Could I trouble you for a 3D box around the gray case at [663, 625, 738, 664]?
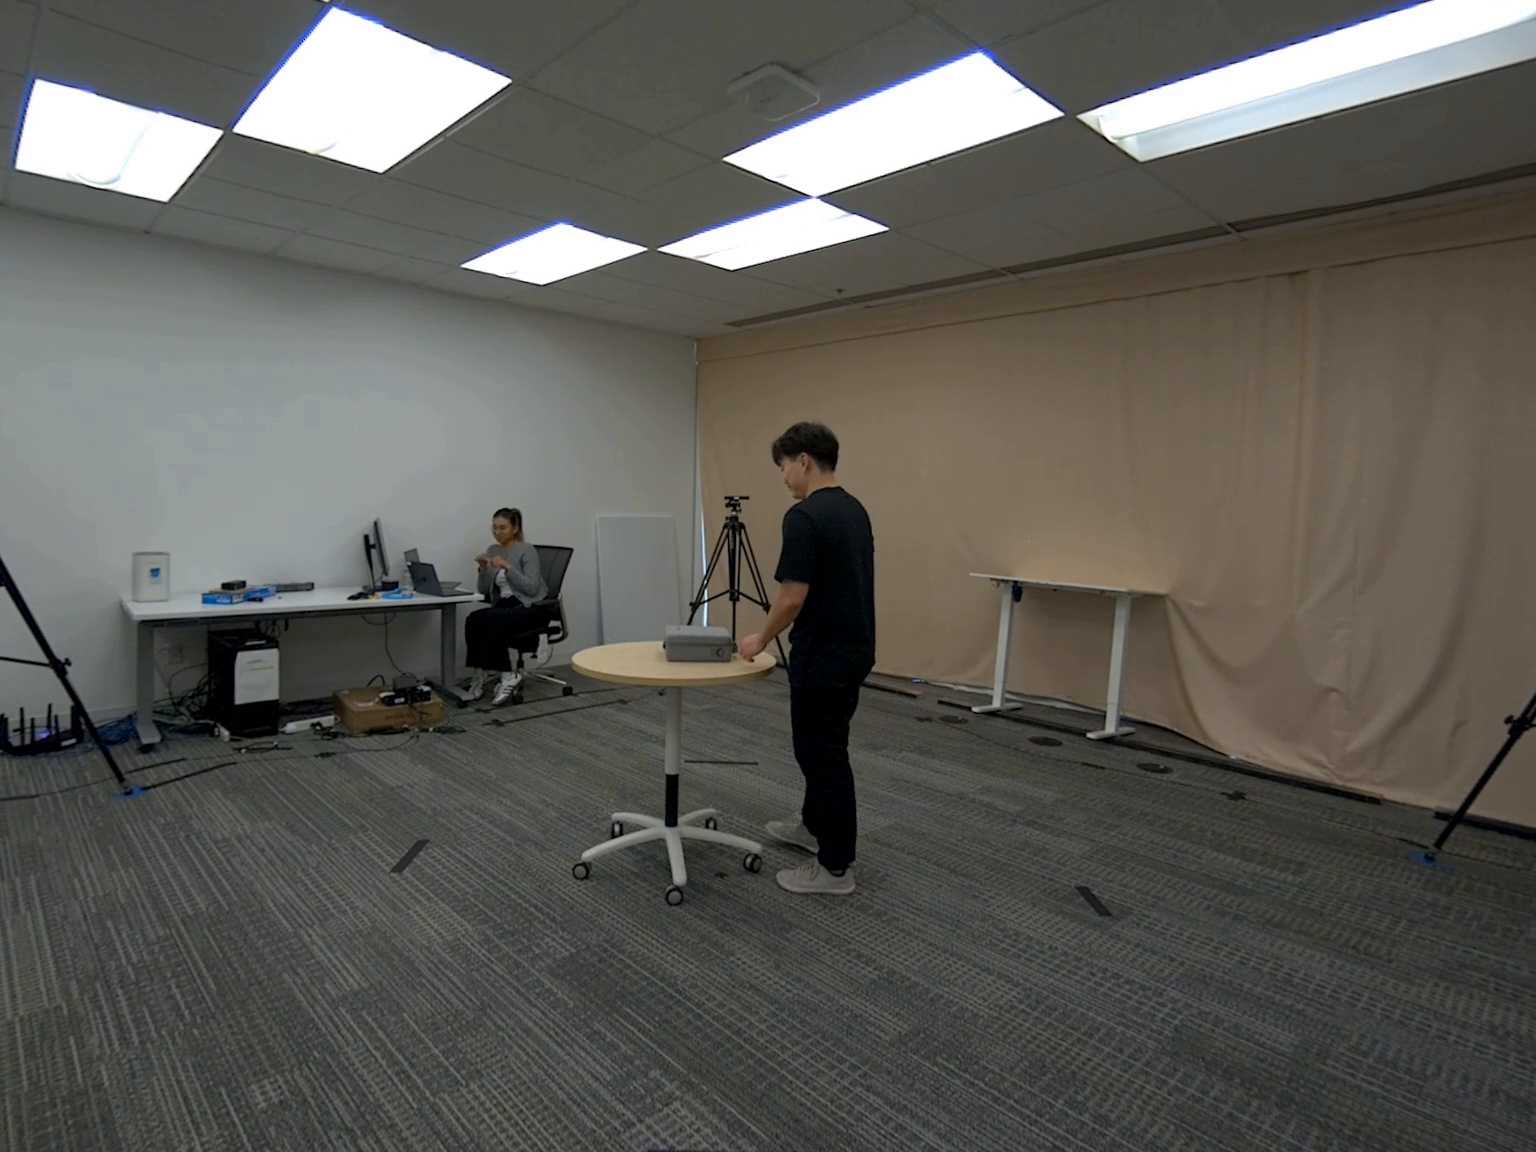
[{"bbox_3d":[-0.262,0.257,3.216,0.259,0.104,0.259,1,3,-7],"label":"gray case"}]
